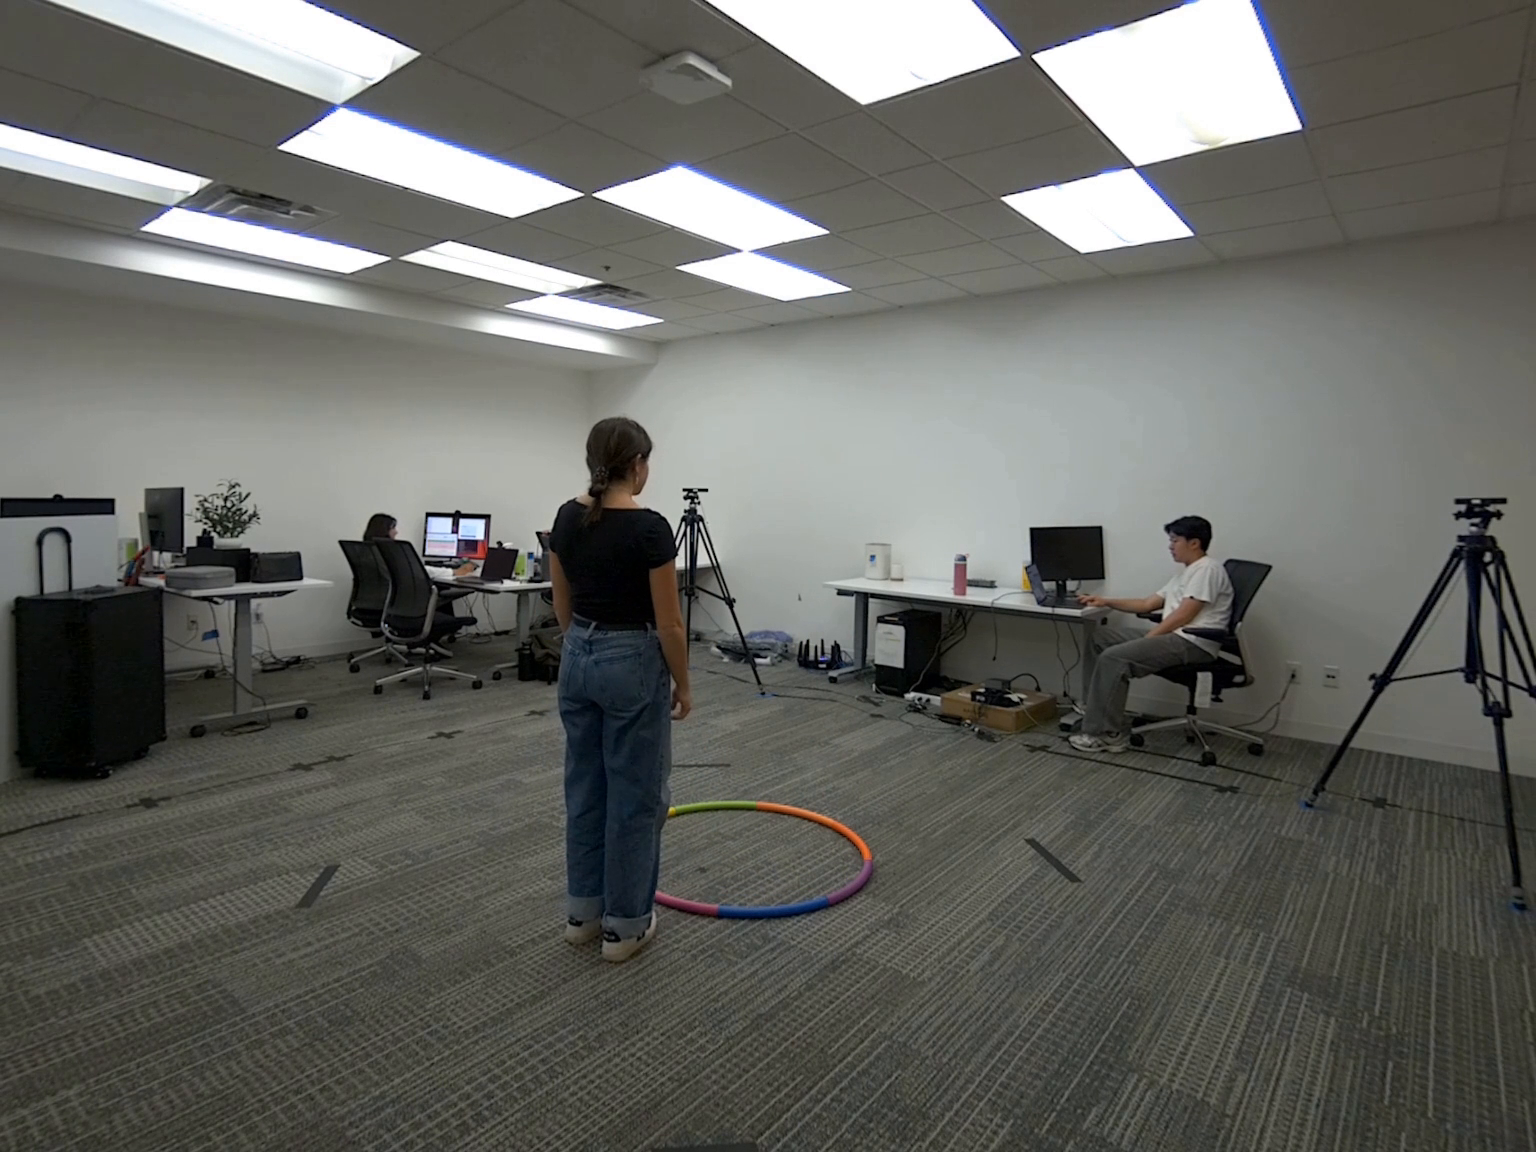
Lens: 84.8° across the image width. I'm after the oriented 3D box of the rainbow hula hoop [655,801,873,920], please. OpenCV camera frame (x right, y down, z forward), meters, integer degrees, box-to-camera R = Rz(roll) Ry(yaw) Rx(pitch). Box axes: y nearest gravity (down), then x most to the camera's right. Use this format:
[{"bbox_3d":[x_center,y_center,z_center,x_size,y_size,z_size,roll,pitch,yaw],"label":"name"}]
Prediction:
[{"bbox_3d":[-0.100,1.025,3.230,0.978,0.035,0.984,1,6,-2],"label":"rainbow hula hoop"}]
